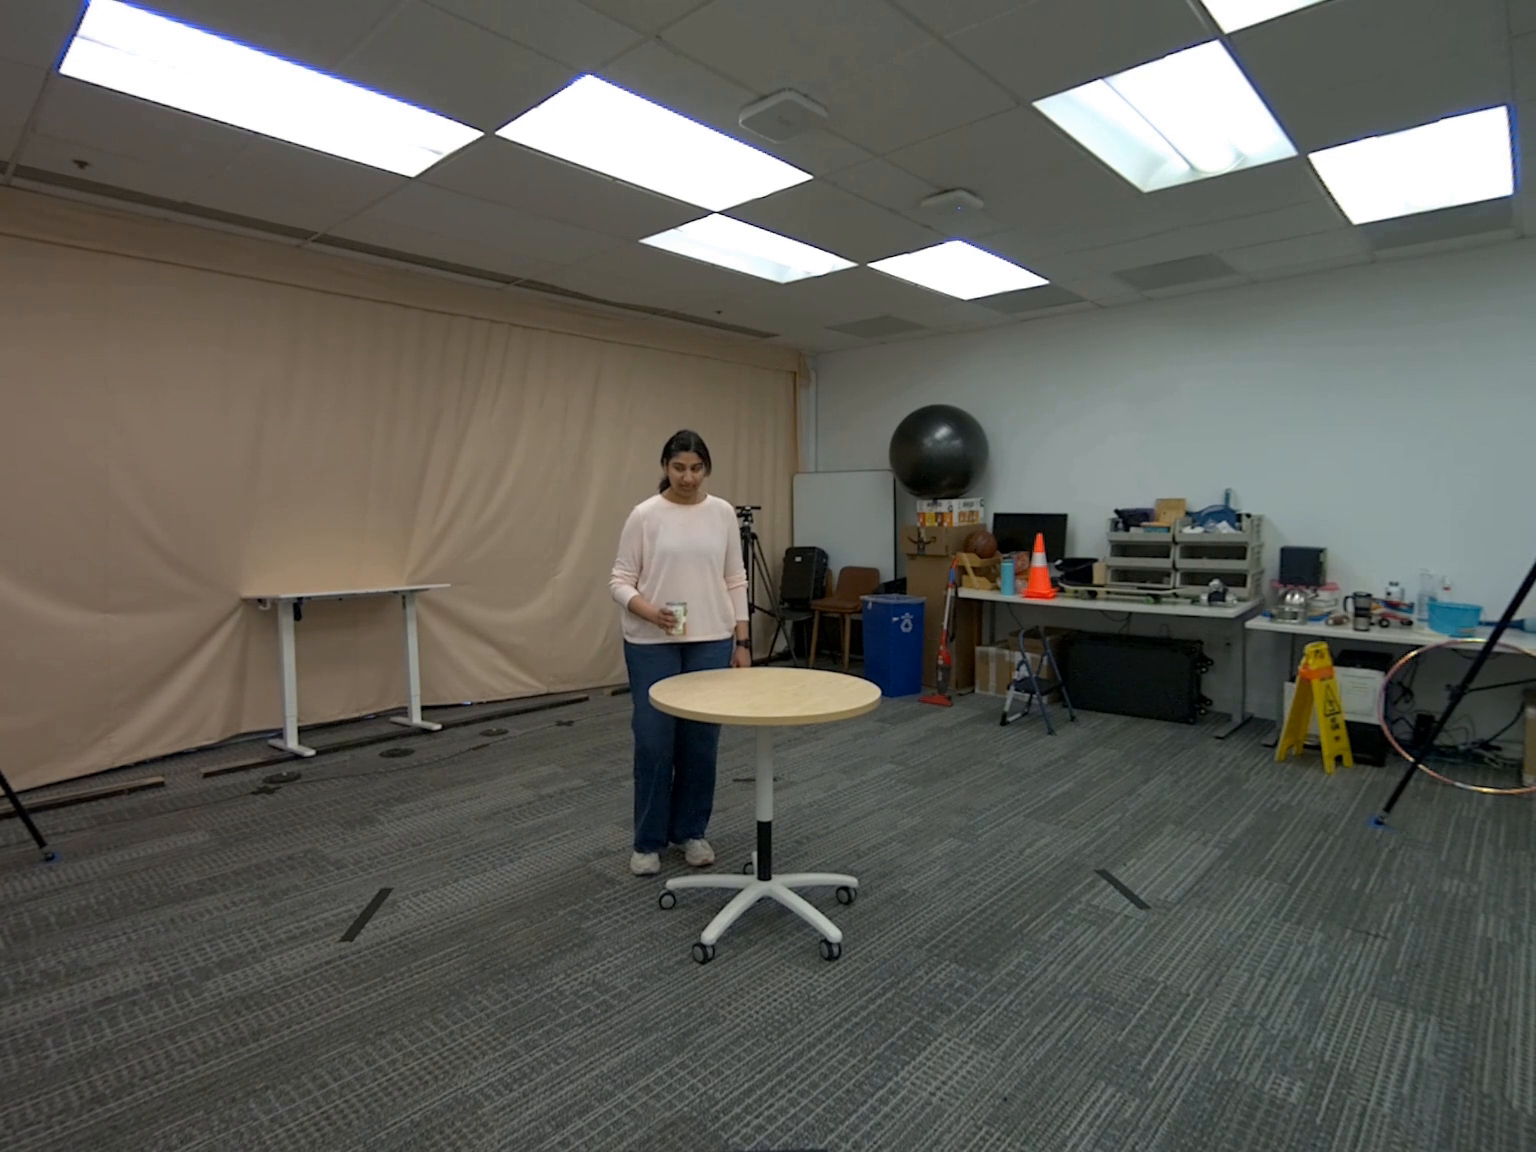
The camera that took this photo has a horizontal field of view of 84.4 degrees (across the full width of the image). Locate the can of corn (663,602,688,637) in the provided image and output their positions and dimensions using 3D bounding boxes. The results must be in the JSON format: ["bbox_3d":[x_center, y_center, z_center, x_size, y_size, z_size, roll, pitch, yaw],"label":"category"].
[{"bbox_3d":[-0.335,0.156,2.996,0.074,0.111,0.074,-6,2,-2],"label":"can of corn"}]
